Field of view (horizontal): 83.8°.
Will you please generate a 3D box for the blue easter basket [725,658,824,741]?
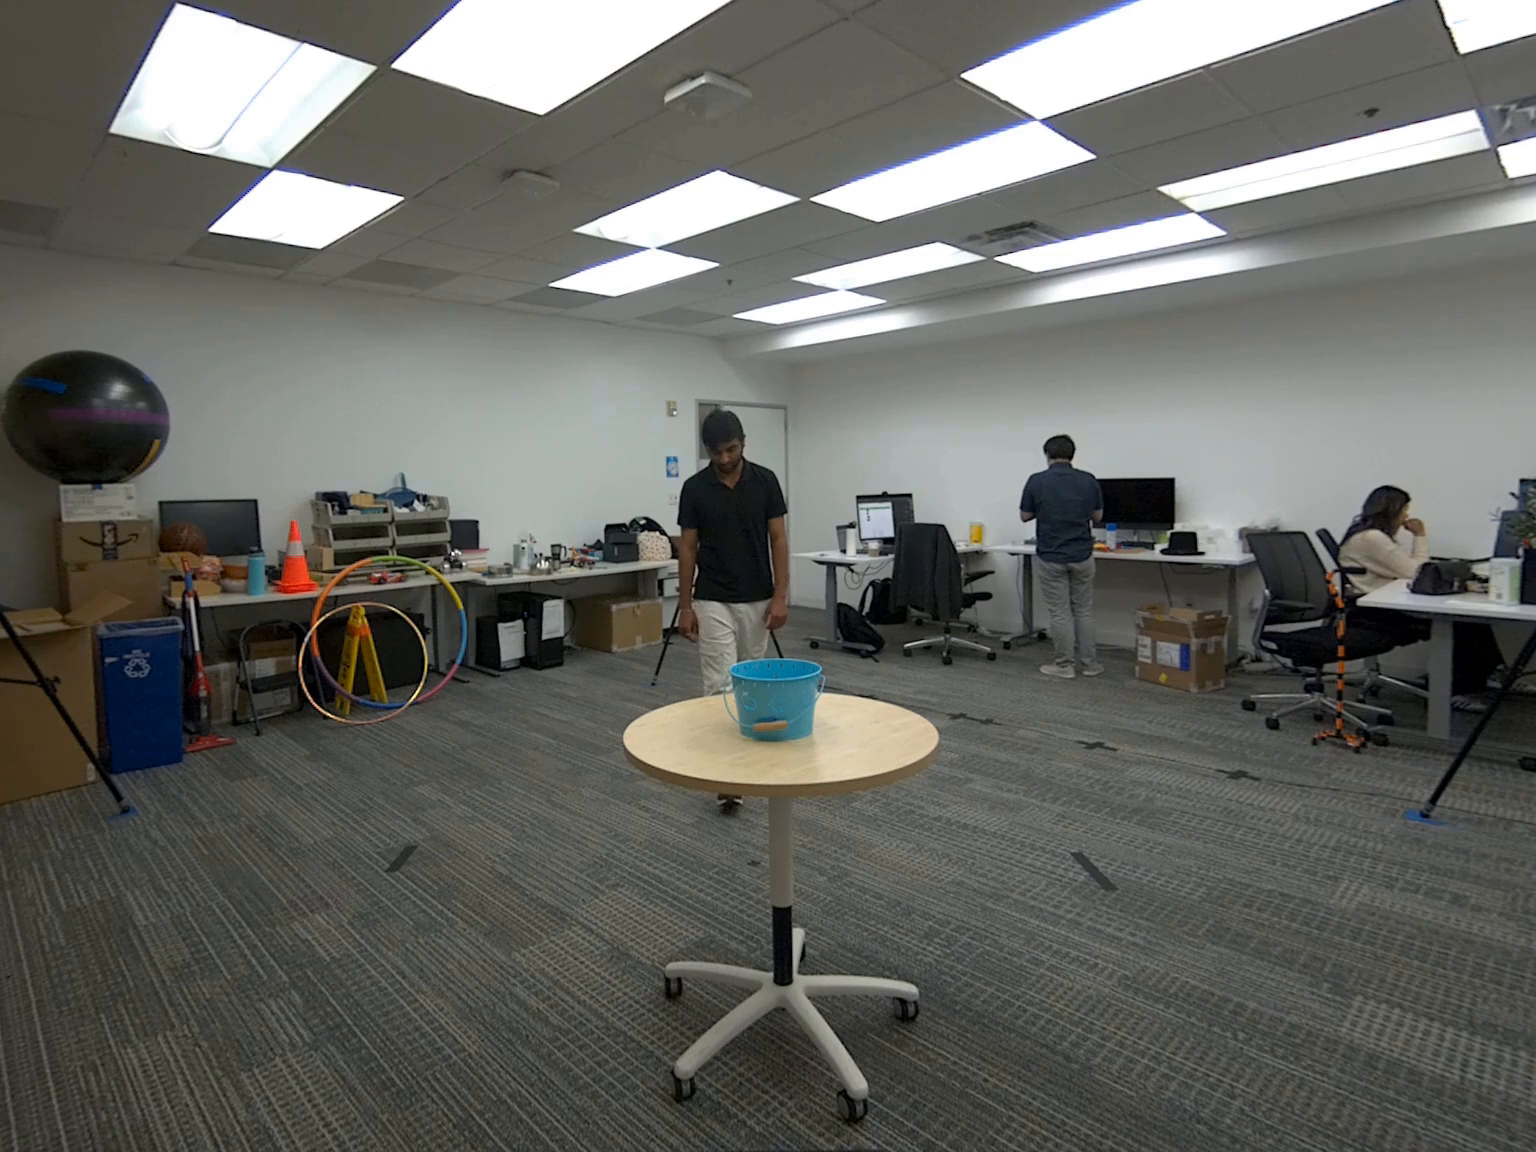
[{"bbox_3d":[0.018,0.305,2.098,0.243,0.155,0.244,0,4,-2],"label":"blue easter basket"}]
